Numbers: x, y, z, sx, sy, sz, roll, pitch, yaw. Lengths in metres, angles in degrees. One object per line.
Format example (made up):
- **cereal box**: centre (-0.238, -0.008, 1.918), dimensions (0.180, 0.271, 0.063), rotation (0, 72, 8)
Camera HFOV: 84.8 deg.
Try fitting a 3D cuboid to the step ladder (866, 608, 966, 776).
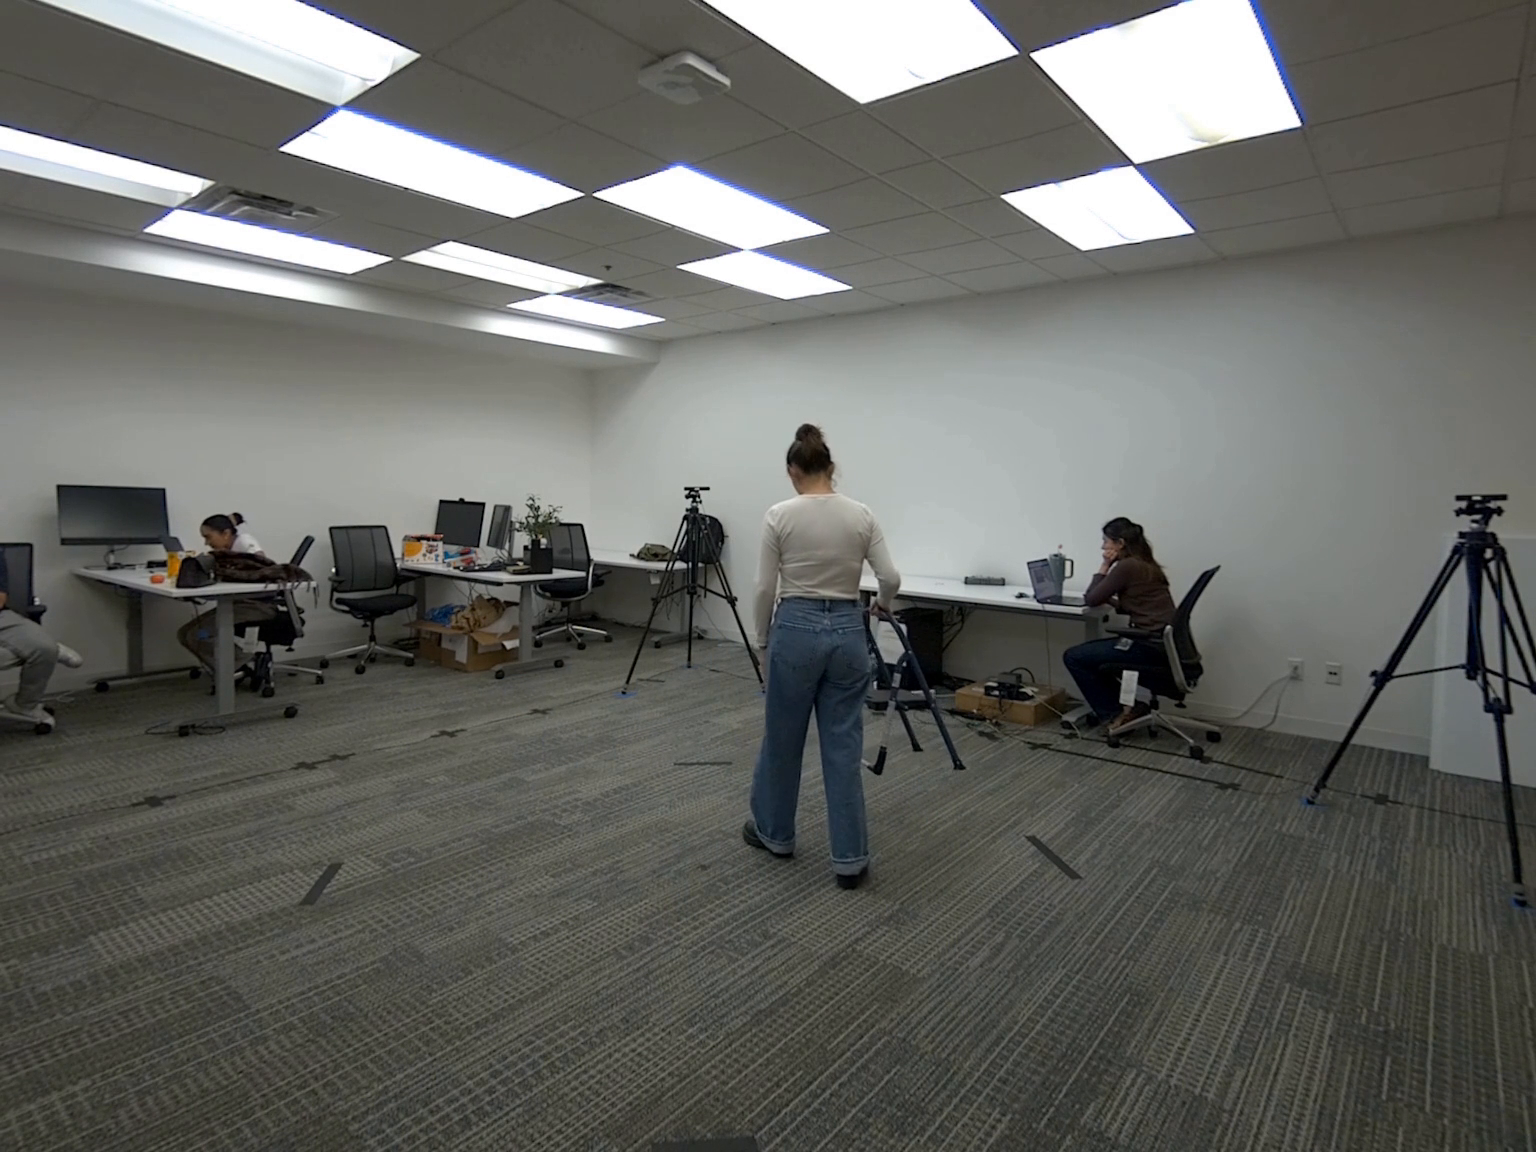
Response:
- **step ladder**: centre (0.495, 0.429, 3.350), dimensions (0.345, 0.609, 0.434), rotation (-2, -4, -12)
